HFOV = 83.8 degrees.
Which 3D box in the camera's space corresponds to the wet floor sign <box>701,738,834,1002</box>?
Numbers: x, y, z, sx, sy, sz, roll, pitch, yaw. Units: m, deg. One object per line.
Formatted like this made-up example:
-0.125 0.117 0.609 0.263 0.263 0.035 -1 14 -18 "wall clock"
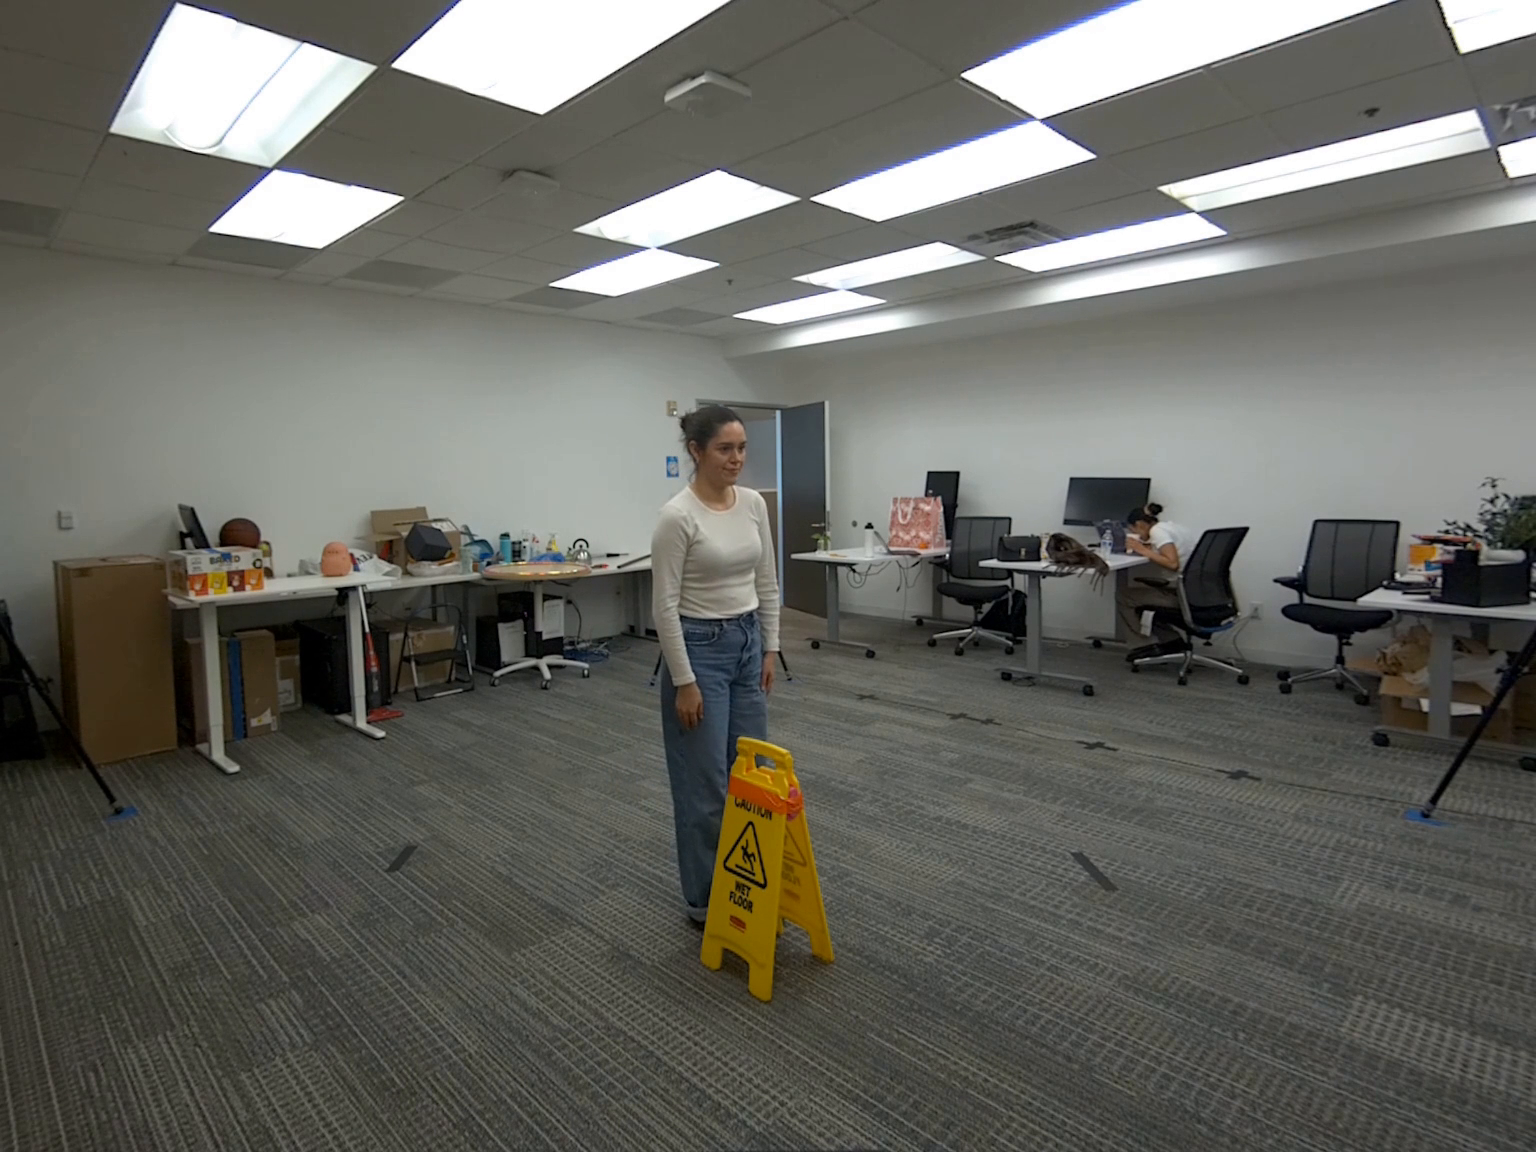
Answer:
0.000 0.799 2.452 0.282 0.643 0.291 -4 6 -44 "wet floor sign"
